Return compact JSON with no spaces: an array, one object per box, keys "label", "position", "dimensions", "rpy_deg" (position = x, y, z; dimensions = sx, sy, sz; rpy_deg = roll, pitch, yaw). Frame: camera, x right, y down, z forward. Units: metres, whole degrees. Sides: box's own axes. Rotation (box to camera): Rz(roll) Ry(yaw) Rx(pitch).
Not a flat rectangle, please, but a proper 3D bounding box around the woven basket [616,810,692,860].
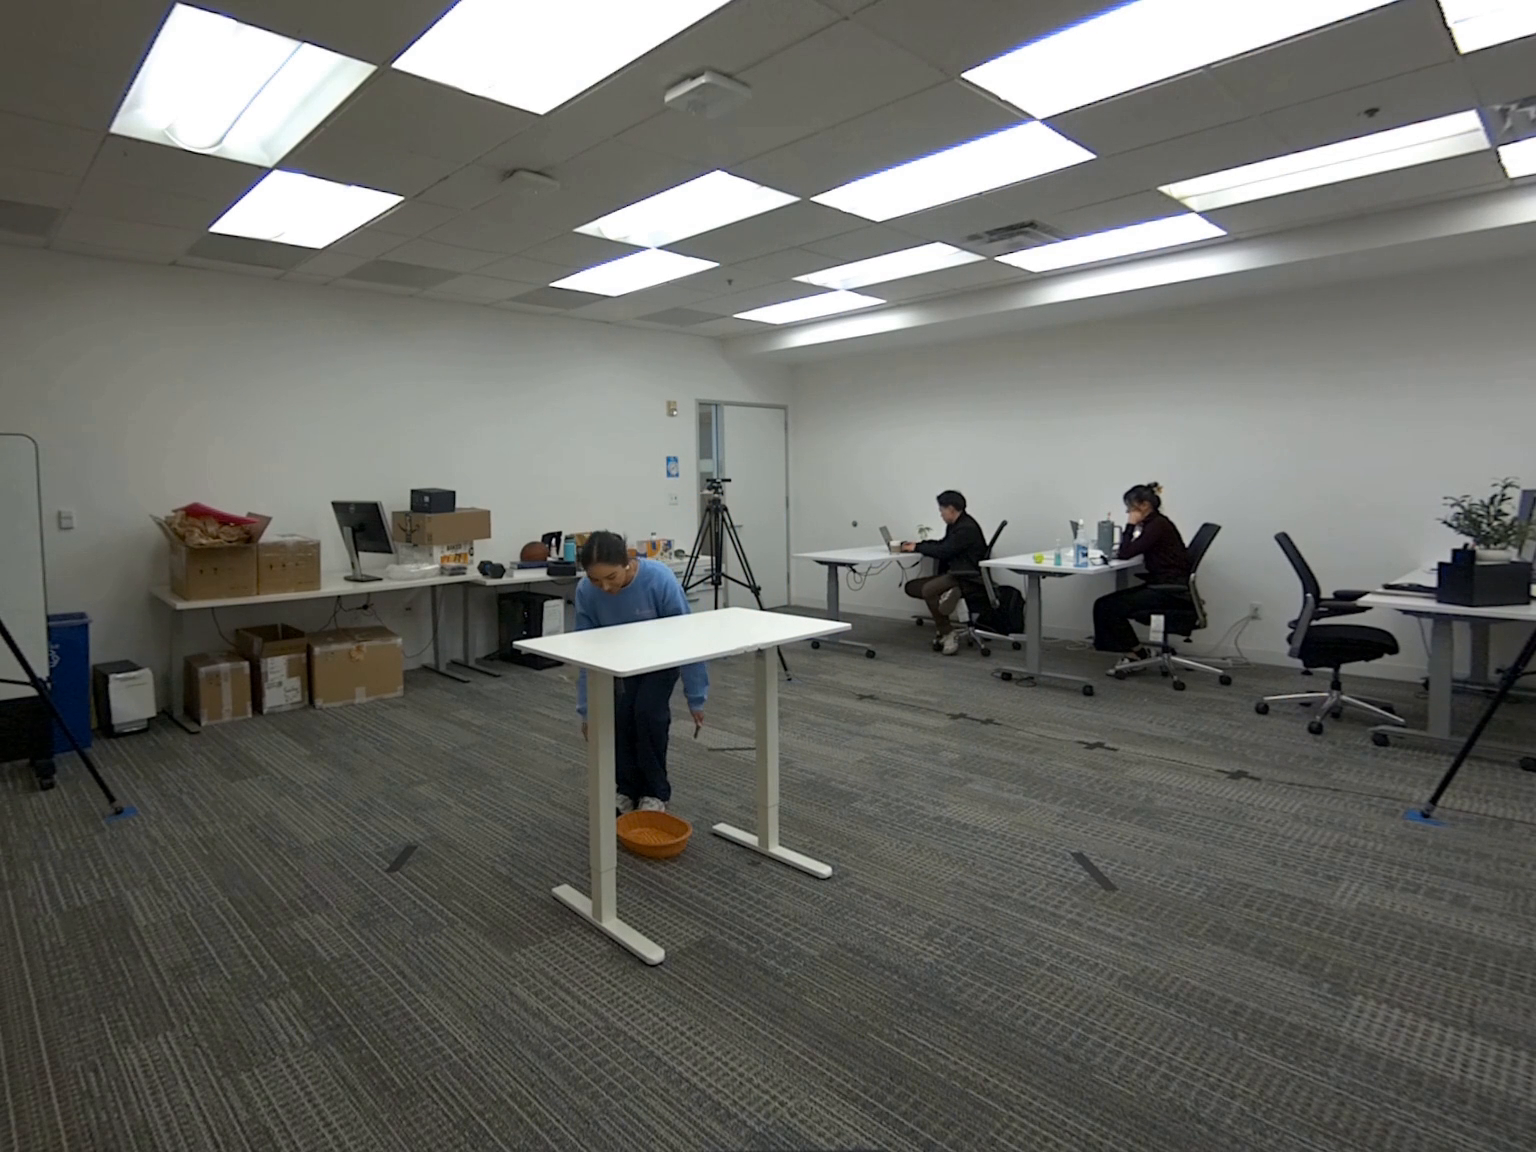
[{"label":"woven basket","position":[-0.441,0.987,3.275],"dimensions":[0.246,0.073,0.361],"rpy_deg":[-8,10,-42]}]
